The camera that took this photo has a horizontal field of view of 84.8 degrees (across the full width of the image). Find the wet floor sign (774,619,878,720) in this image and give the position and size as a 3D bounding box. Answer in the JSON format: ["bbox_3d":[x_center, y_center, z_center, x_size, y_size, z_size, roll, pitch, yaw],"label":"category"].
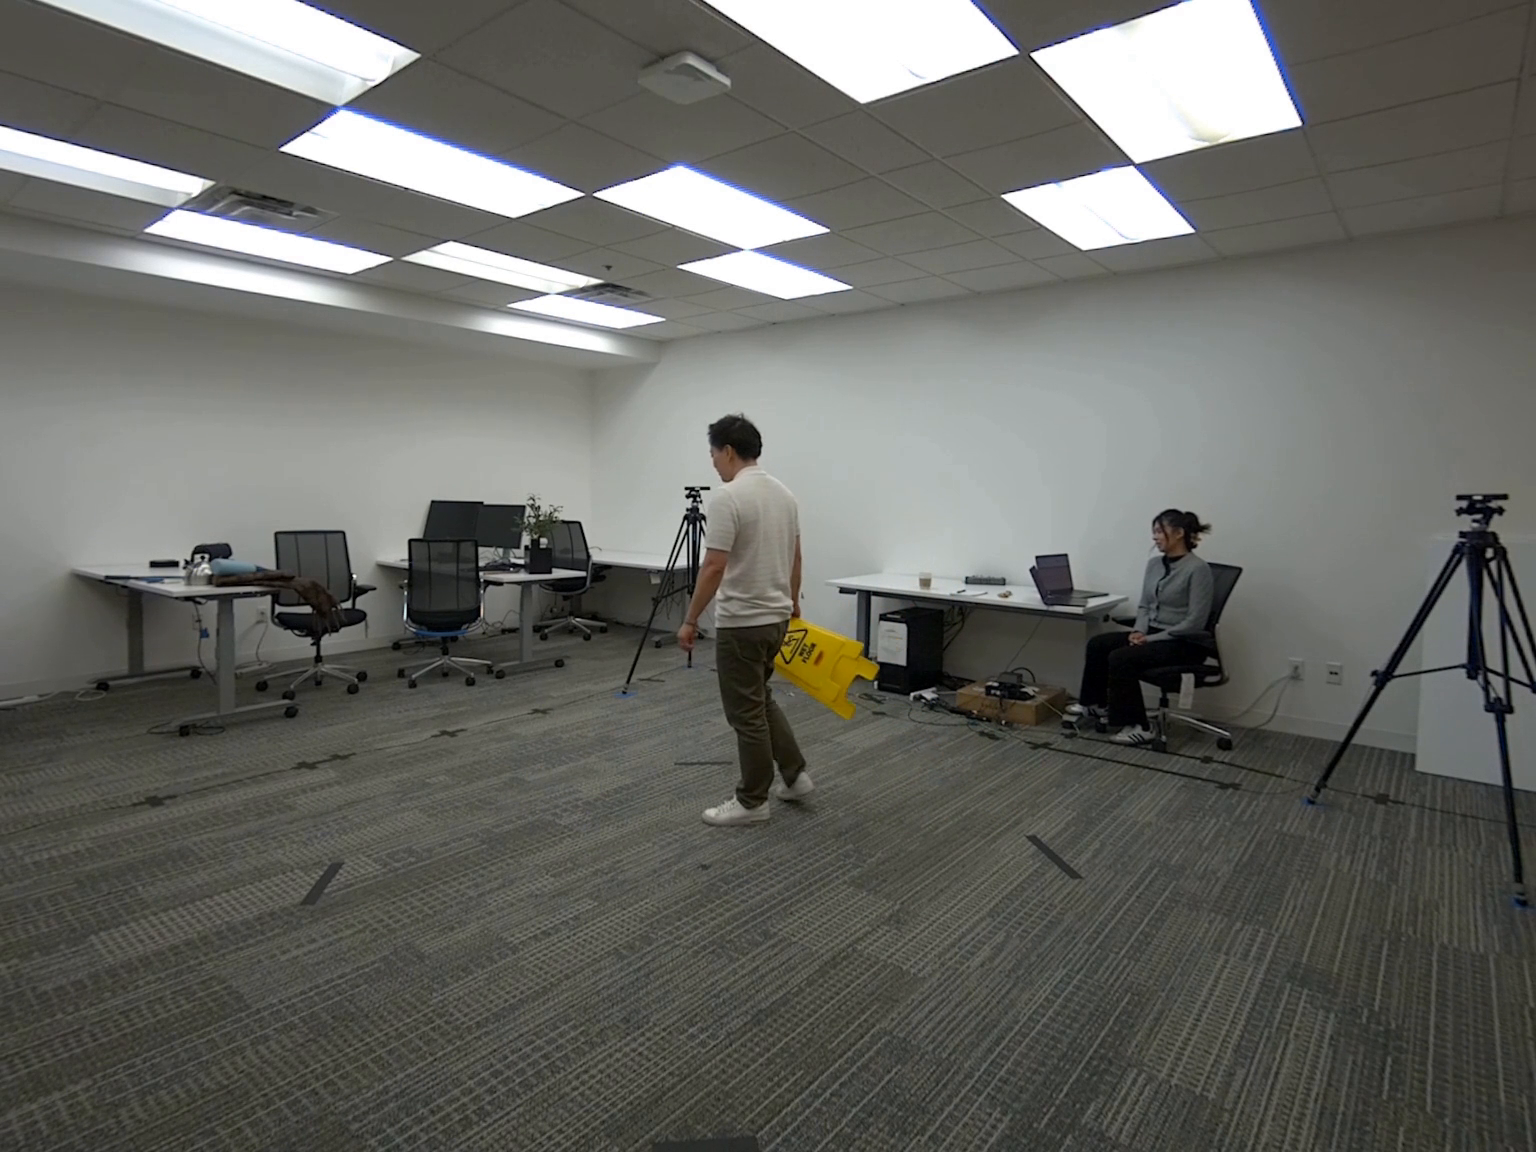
[{"bbox_3d":[0.122,0.332,3.833,0.671,0.283,0.278,27,-11,32],"label":"wet floor sign"}]
